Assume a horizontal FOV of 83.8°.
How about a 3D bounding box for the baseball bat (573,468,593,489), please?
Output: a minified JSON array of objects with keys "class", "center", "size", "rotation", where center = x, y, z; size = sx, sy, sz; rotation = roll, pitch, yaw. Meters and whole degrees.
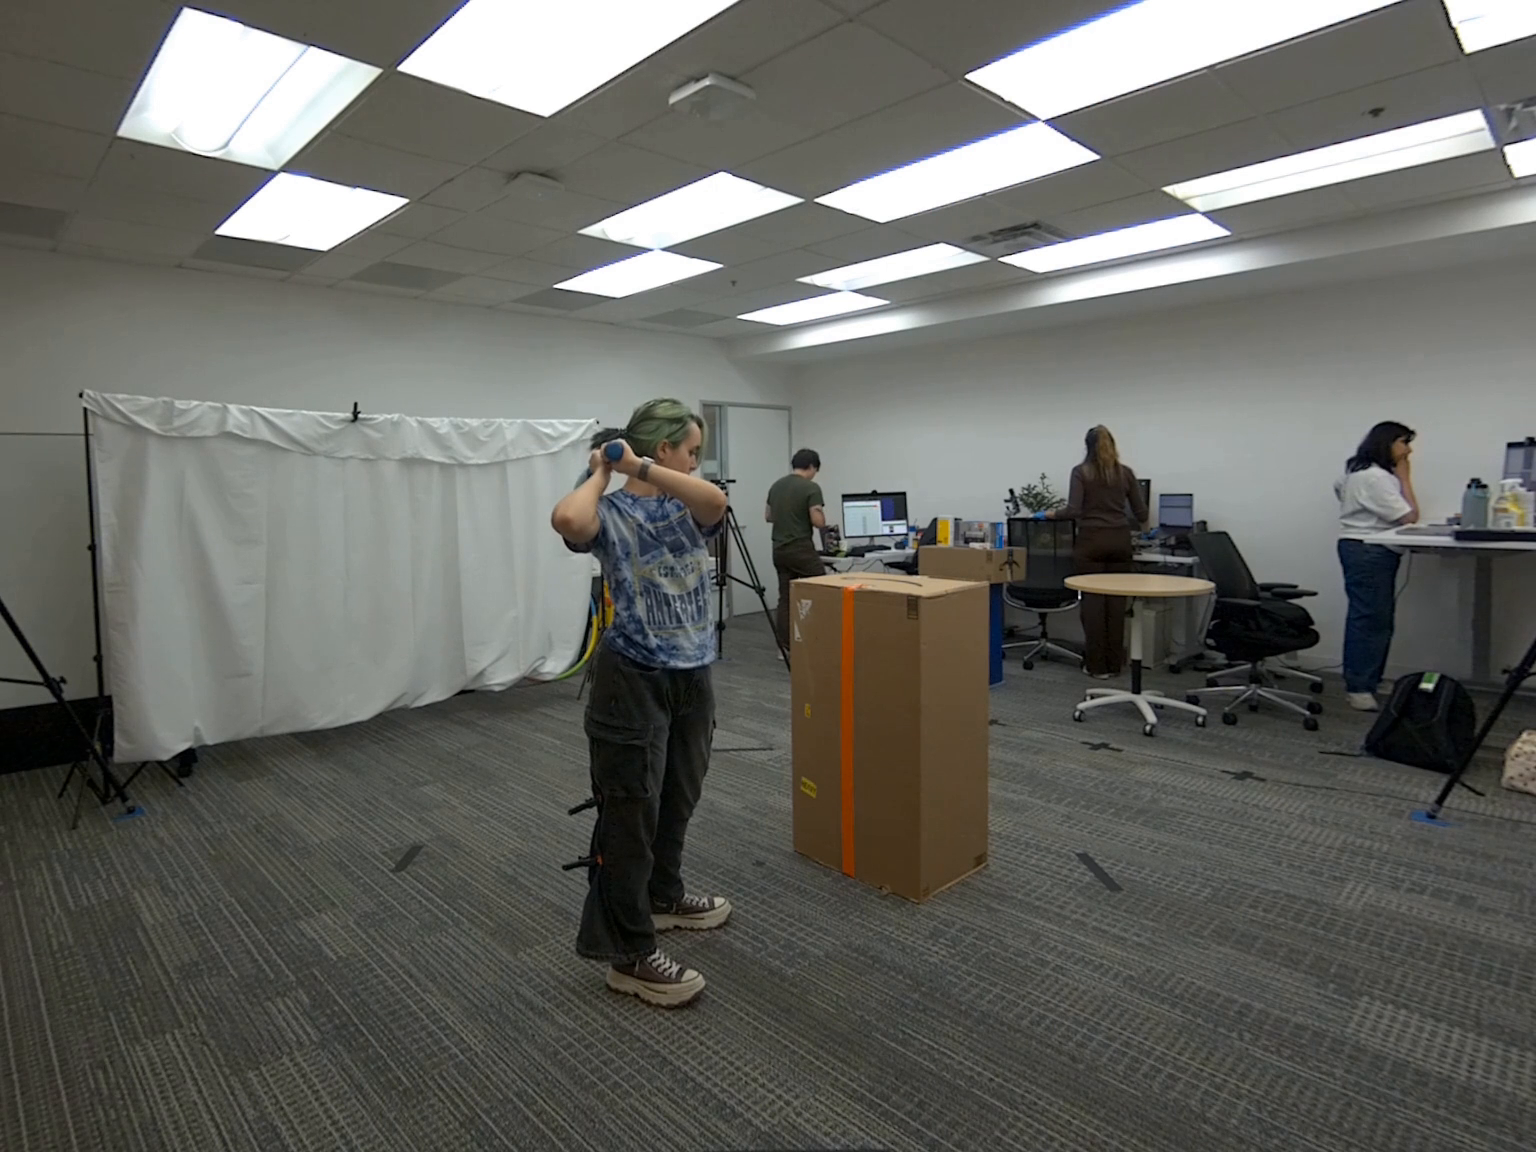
[{"class":"baseball bat","center":[-0.467,-0.293,2.411],"size":[0.087,0.089,0.549],"rotation":[-2,-5,-20]}]
